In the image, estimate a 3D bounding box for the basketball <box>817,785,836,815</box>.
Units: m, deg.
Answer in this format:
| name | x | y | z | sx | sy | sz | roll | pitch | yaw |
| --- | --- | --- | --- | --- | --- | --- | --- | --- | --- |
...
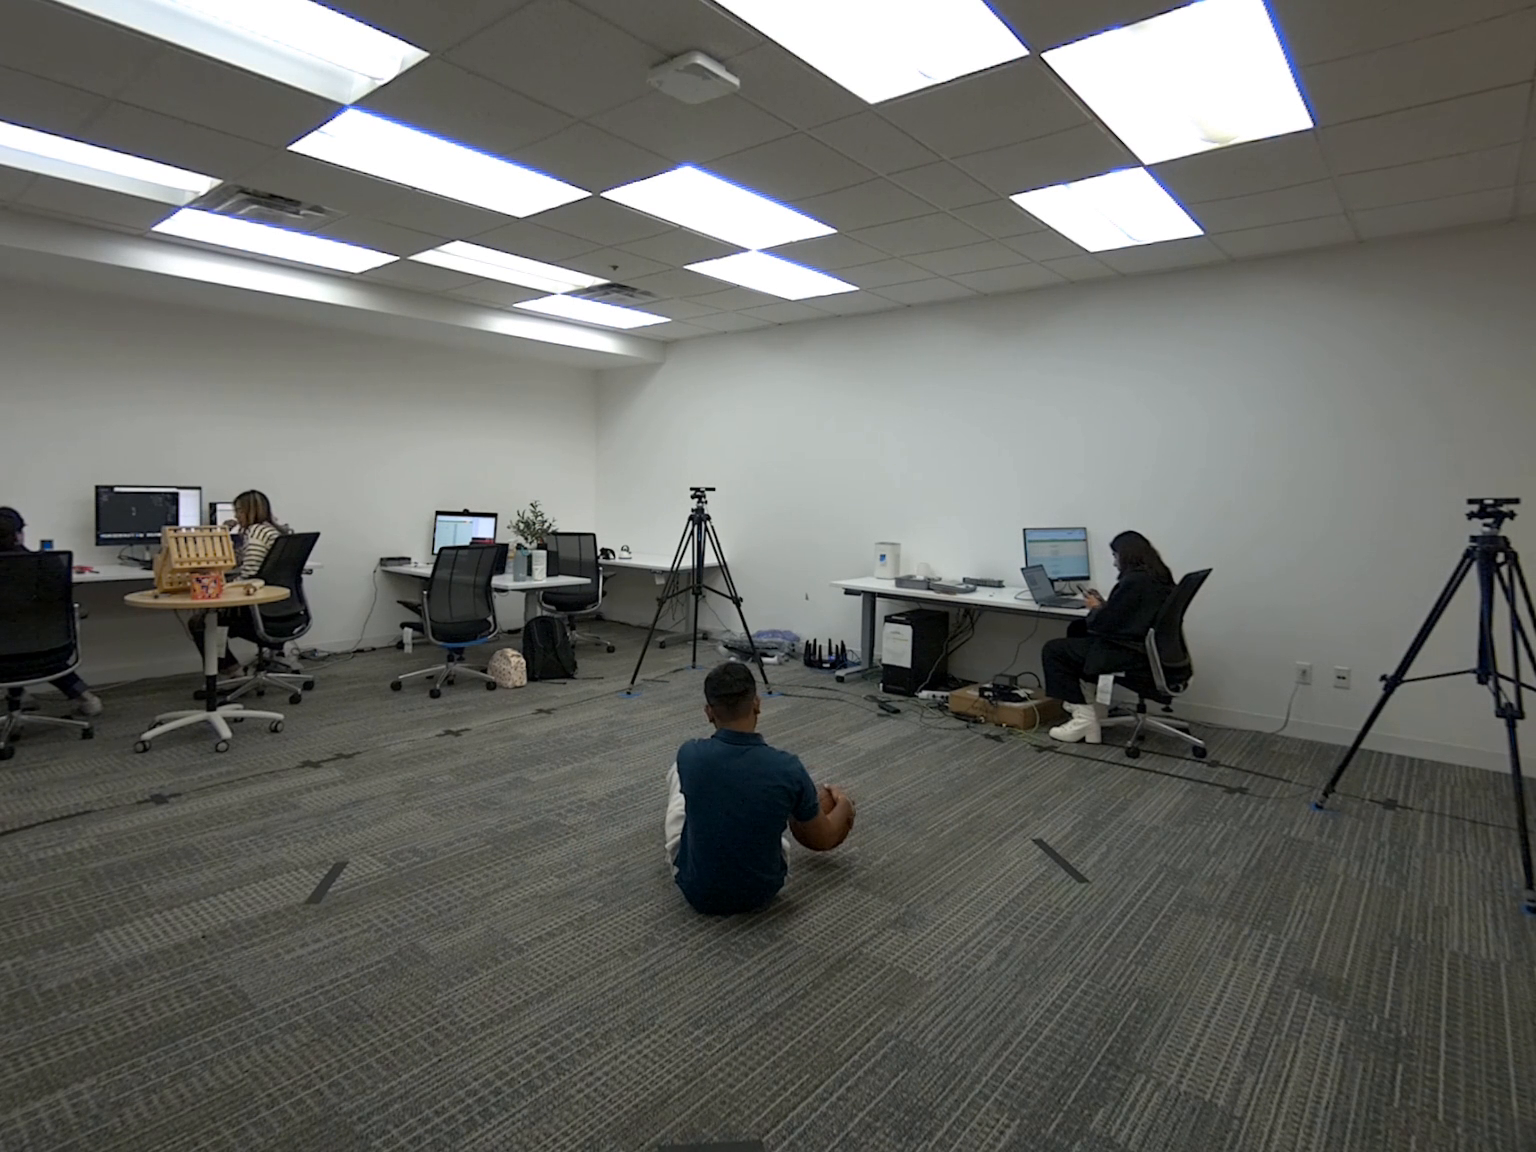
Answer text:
| name | x | y | z | sx | sy | sz | roll | pitch | yaw |
| --- | --- | --- | --- | --- | --- | --- | --- | --- | --- |
| basketball | 0.181 | 0.886 | 3.186 | 0.235 | 0.235 | 0.237 | 1 | 4 | -2 |
